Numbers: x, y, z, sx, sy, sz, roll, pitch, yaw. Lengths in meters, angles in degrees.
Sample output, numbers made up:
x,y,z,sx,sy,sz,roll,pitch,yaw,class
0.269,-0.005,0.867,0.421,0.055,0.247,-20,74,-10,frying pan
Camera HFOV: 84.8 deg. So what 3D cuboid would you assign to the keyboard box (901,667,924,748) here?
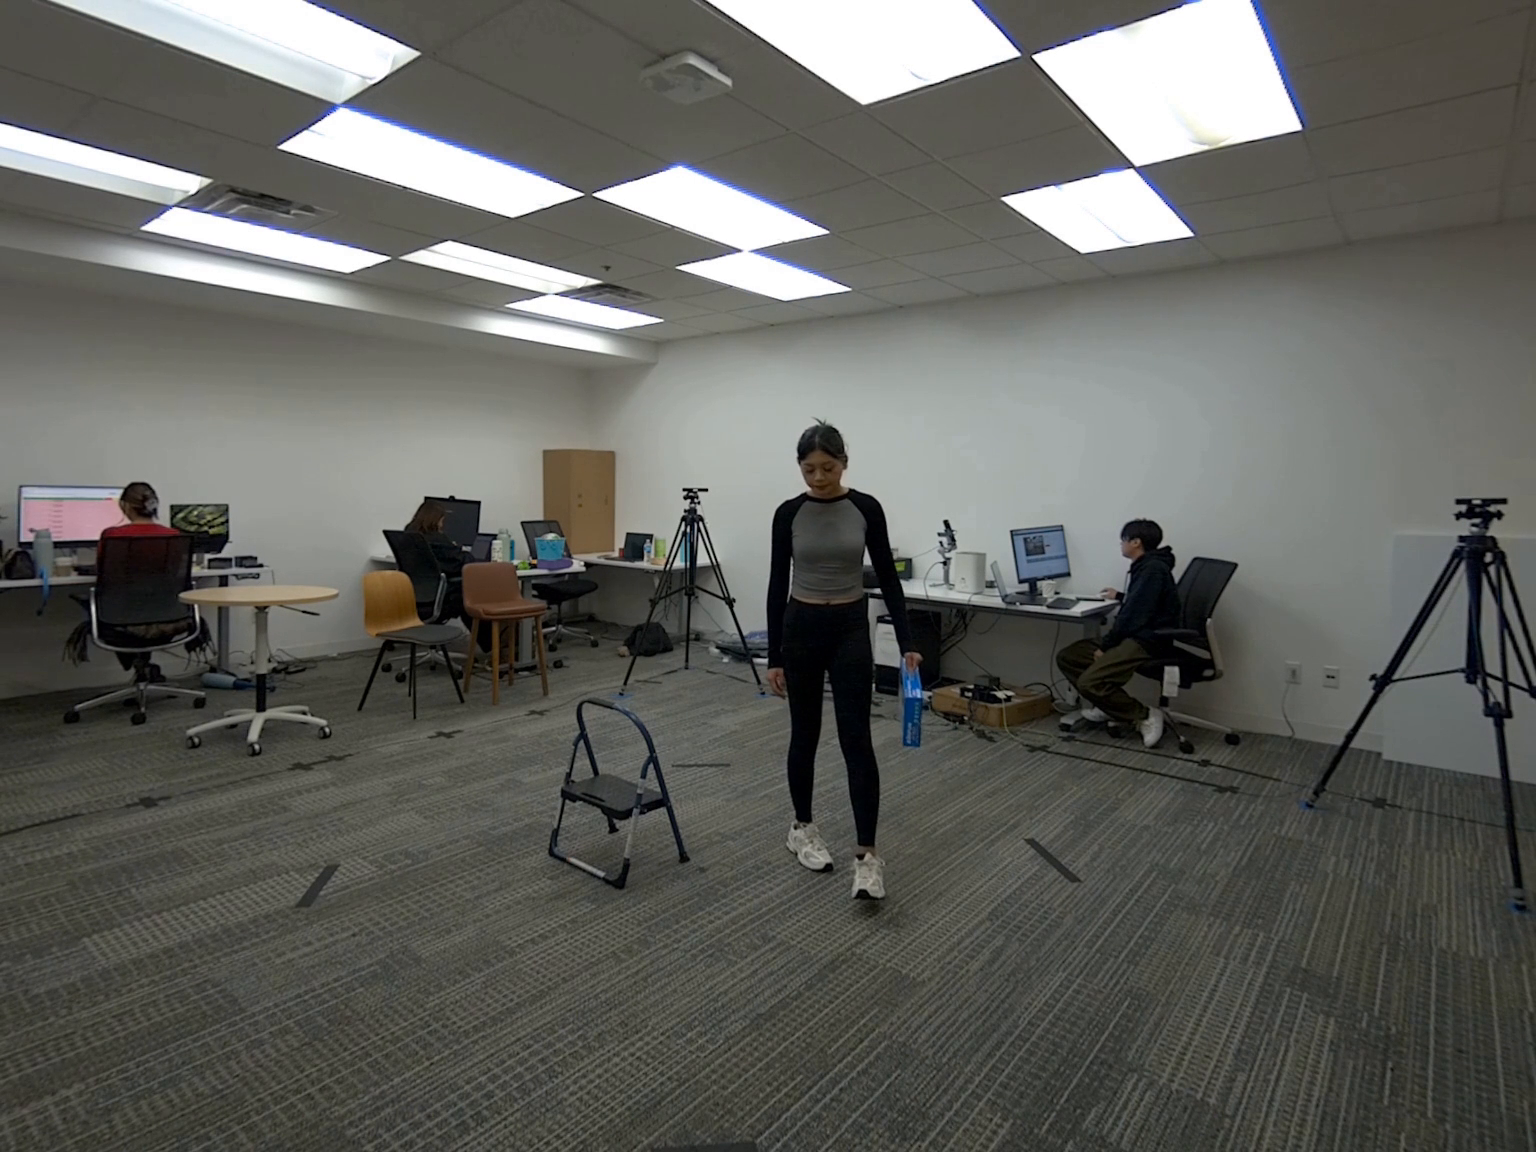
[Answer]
x,y,z,sx,sy,sz,roll,pitch,yaw,class
0.494,0.427,3.002,0.059,0.174,0.439,1,14,5,keyboard box
